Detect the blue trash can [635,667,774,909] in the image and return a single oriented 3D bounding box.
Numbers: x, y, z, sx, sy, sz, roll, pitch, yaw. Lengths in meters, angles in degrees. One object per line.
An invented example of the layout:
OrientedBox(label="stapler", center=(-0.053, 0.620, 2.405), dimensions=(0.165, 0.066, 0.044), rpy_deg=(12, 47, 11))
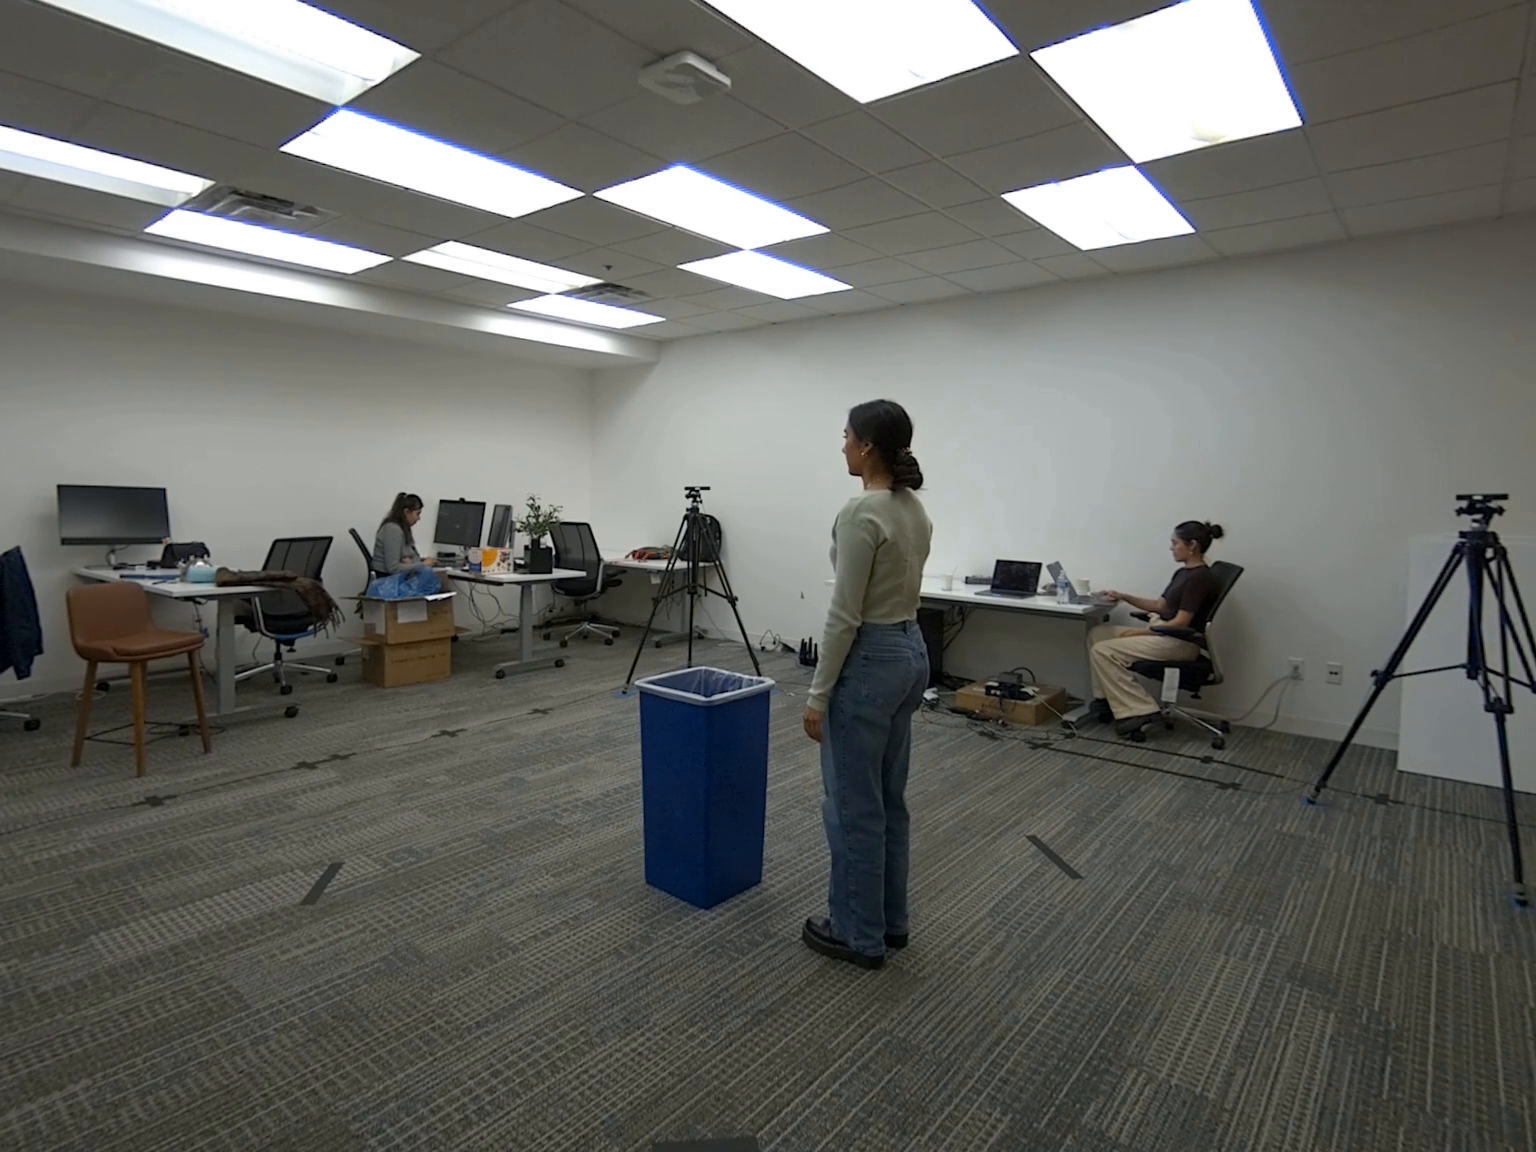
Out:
OrientedBox(label="blue trash can", center=(-0.232, 0.719, 2.975), dimensions=(0.391, 0.712, 0.363), rpy_deg=(3, 4, 41))
